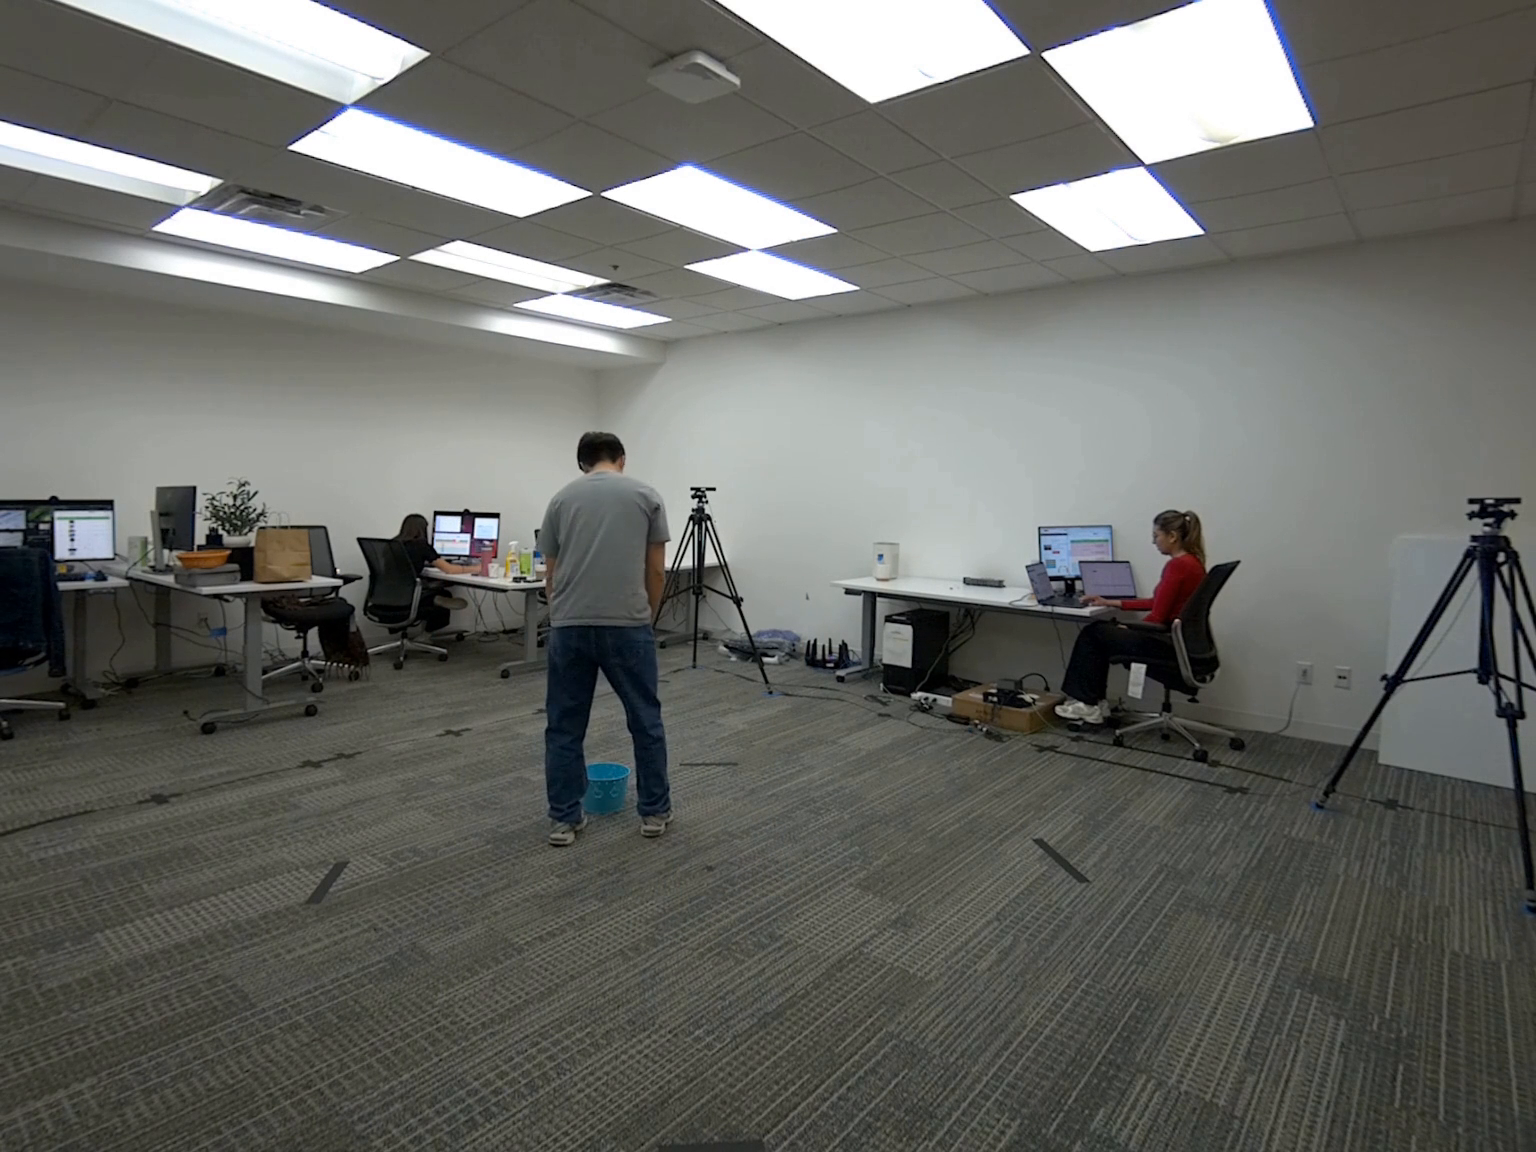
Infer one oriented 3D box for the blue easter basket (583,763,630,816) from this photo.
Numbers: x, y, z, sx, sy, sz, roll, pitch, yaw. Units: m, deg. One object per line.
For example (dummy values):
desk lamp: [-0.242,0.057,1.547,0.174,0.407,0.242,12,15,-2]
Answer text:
blue easter basket: [-0.732,0.921,3.708,0.243,0.155,0.245,1,5,-2]
